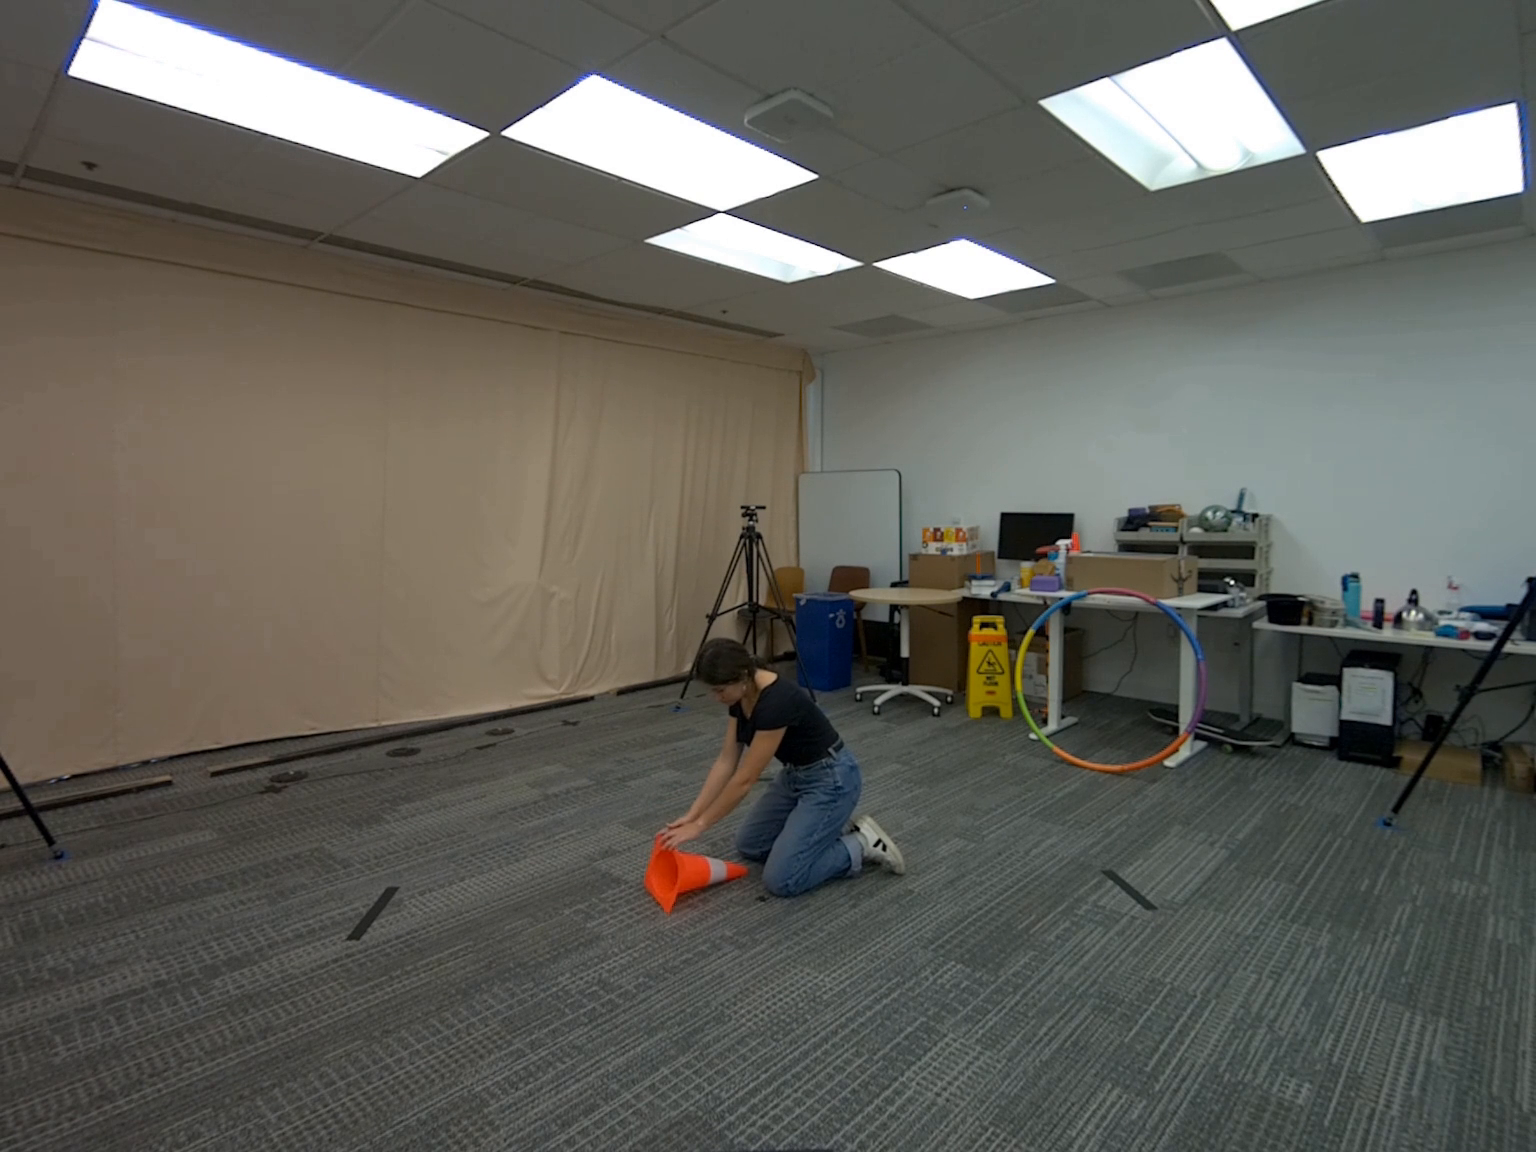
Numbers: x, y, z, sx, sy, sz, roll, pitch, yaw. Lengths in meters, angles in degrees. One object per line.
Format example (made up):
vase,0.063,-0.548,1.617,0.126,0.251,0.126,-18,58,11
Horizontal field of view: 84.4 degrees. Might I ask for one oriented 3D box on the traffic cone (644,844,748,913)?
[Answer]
traffic cone,-0.213,1.083,3.066,0.370,0.203,0.212,15,4,-38
